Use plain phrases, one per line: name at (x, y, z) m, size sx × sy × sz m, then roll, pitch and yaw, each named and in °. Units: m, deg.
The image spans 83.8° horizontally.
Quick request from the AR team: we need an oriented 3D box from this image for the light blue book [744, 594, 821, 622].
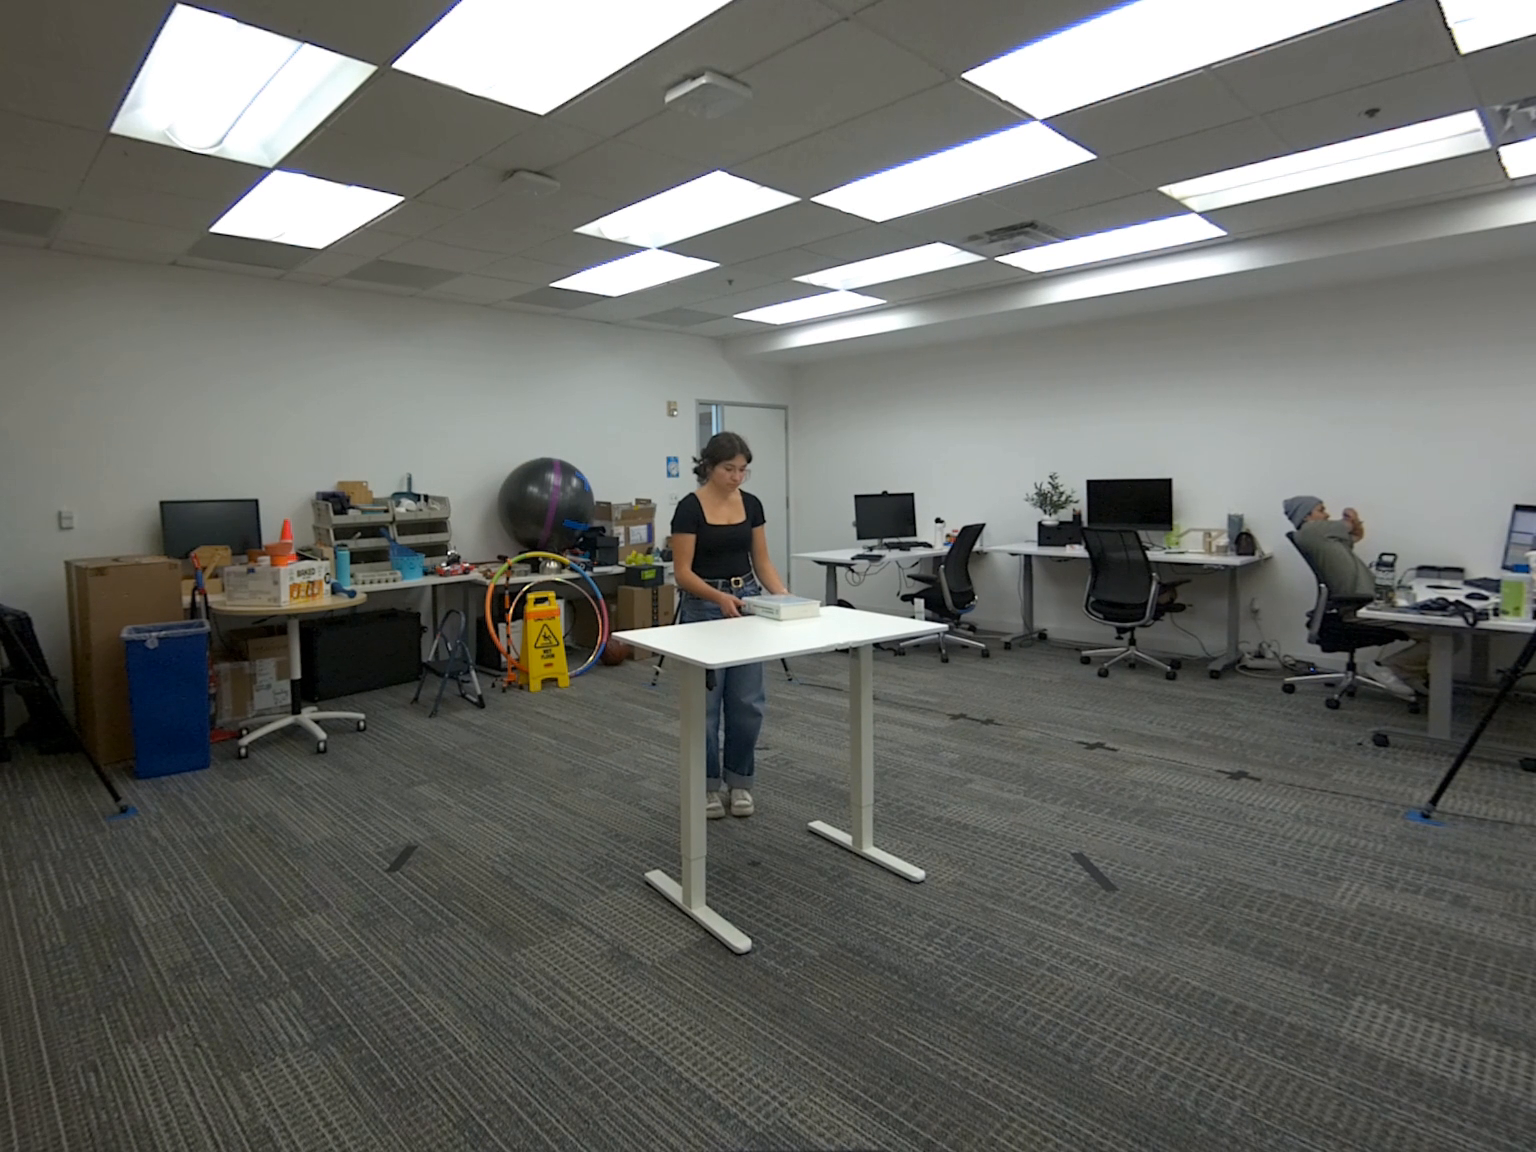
light blue book at (0.050, 0.120, 3.239) m, size 0.187 × 0.059 × 0.268 m, roll -3°, pitch 6°, yaw -30°
